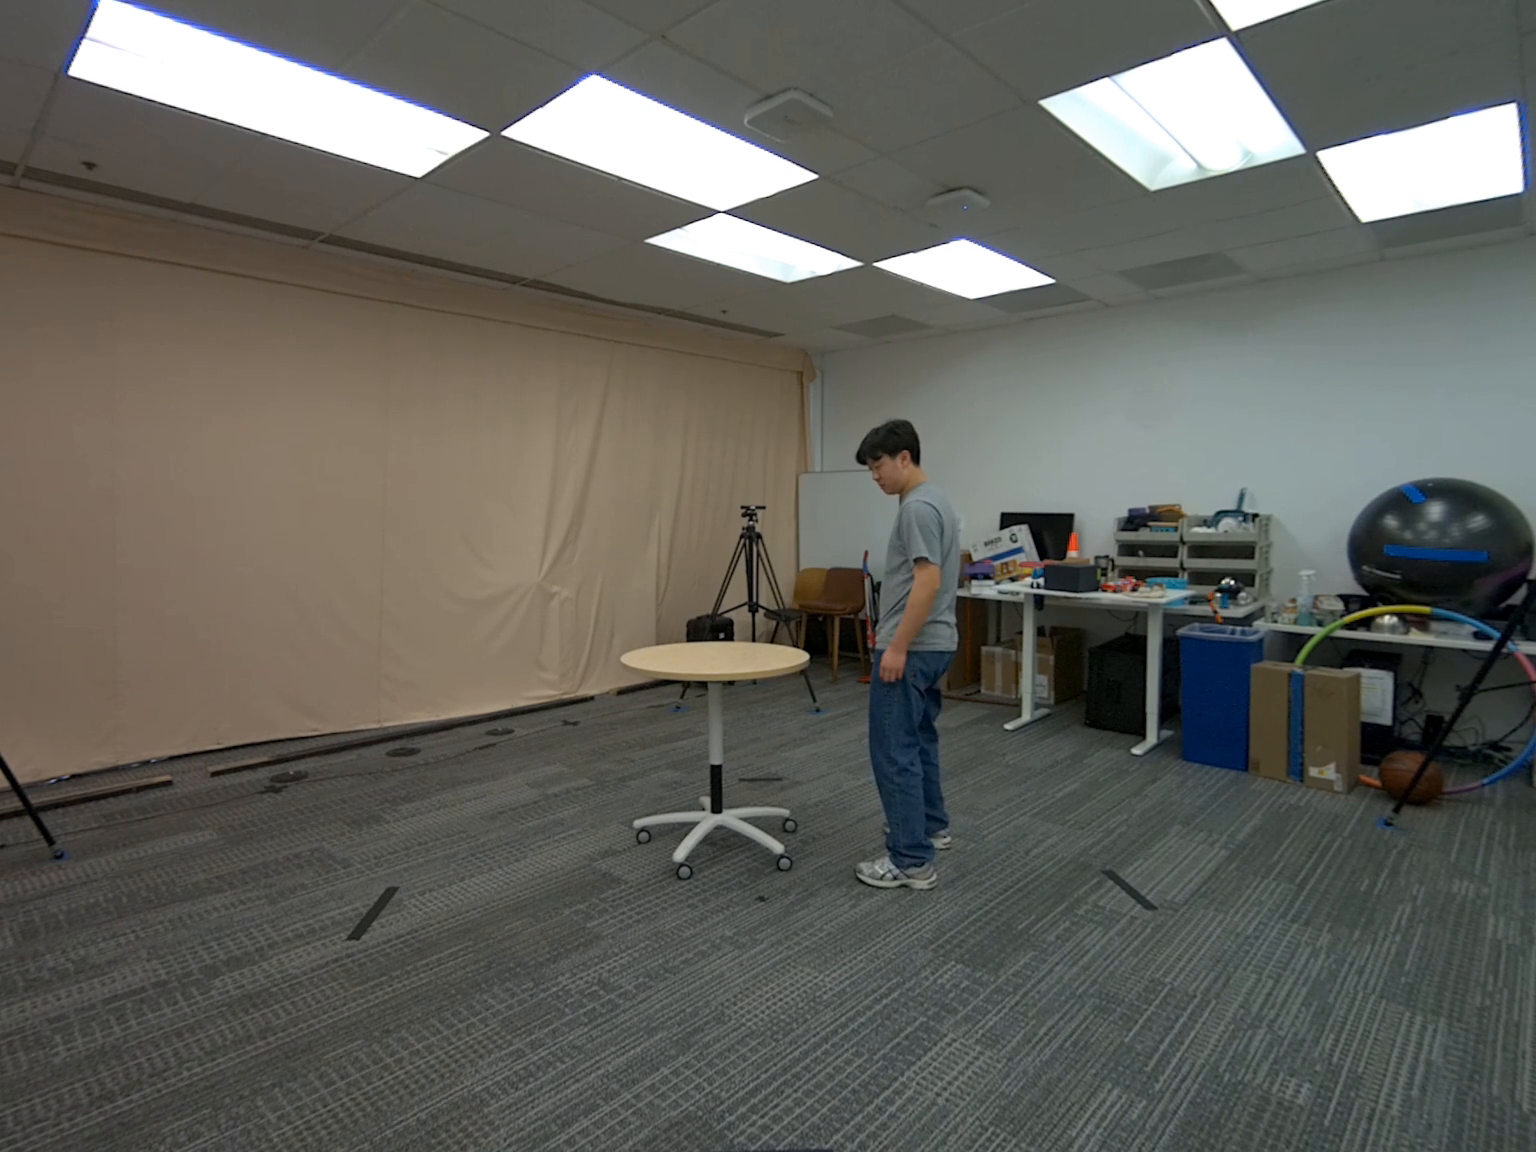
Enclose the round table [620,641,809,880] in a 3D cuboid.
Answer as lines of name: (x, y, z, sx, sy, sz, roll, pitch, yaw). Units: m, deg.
round table: (-0.203, 0.721, 3.443, 0.763, 0.792, 0.766, -1, 3, -2)
